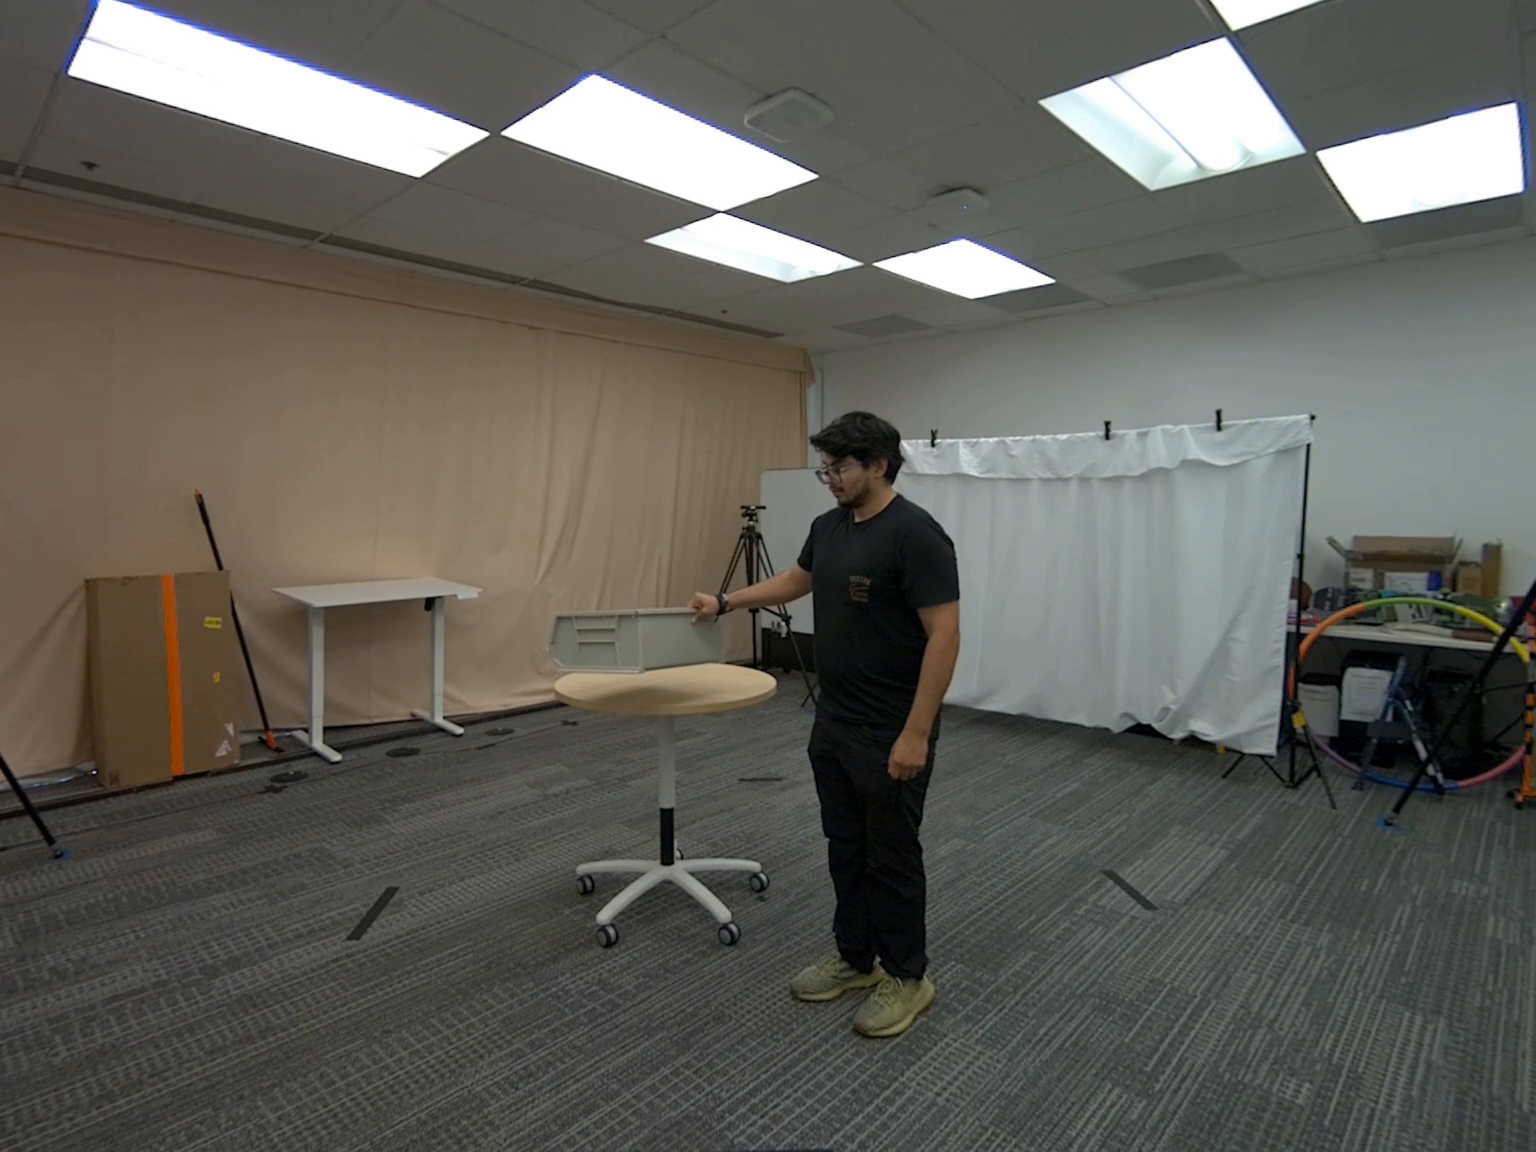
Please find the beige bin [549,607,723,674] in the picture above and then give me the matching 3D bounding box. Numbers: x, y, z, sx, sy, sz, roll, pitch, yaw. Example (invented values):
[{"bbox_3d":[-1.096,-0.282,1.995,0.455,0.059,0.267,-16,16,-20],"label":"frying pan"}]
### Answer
[{"bbox_3d":[-0.399,0.198,2.622,0.389,0.189,0.409,-2,-2,36],"label":"beige bin"}]
